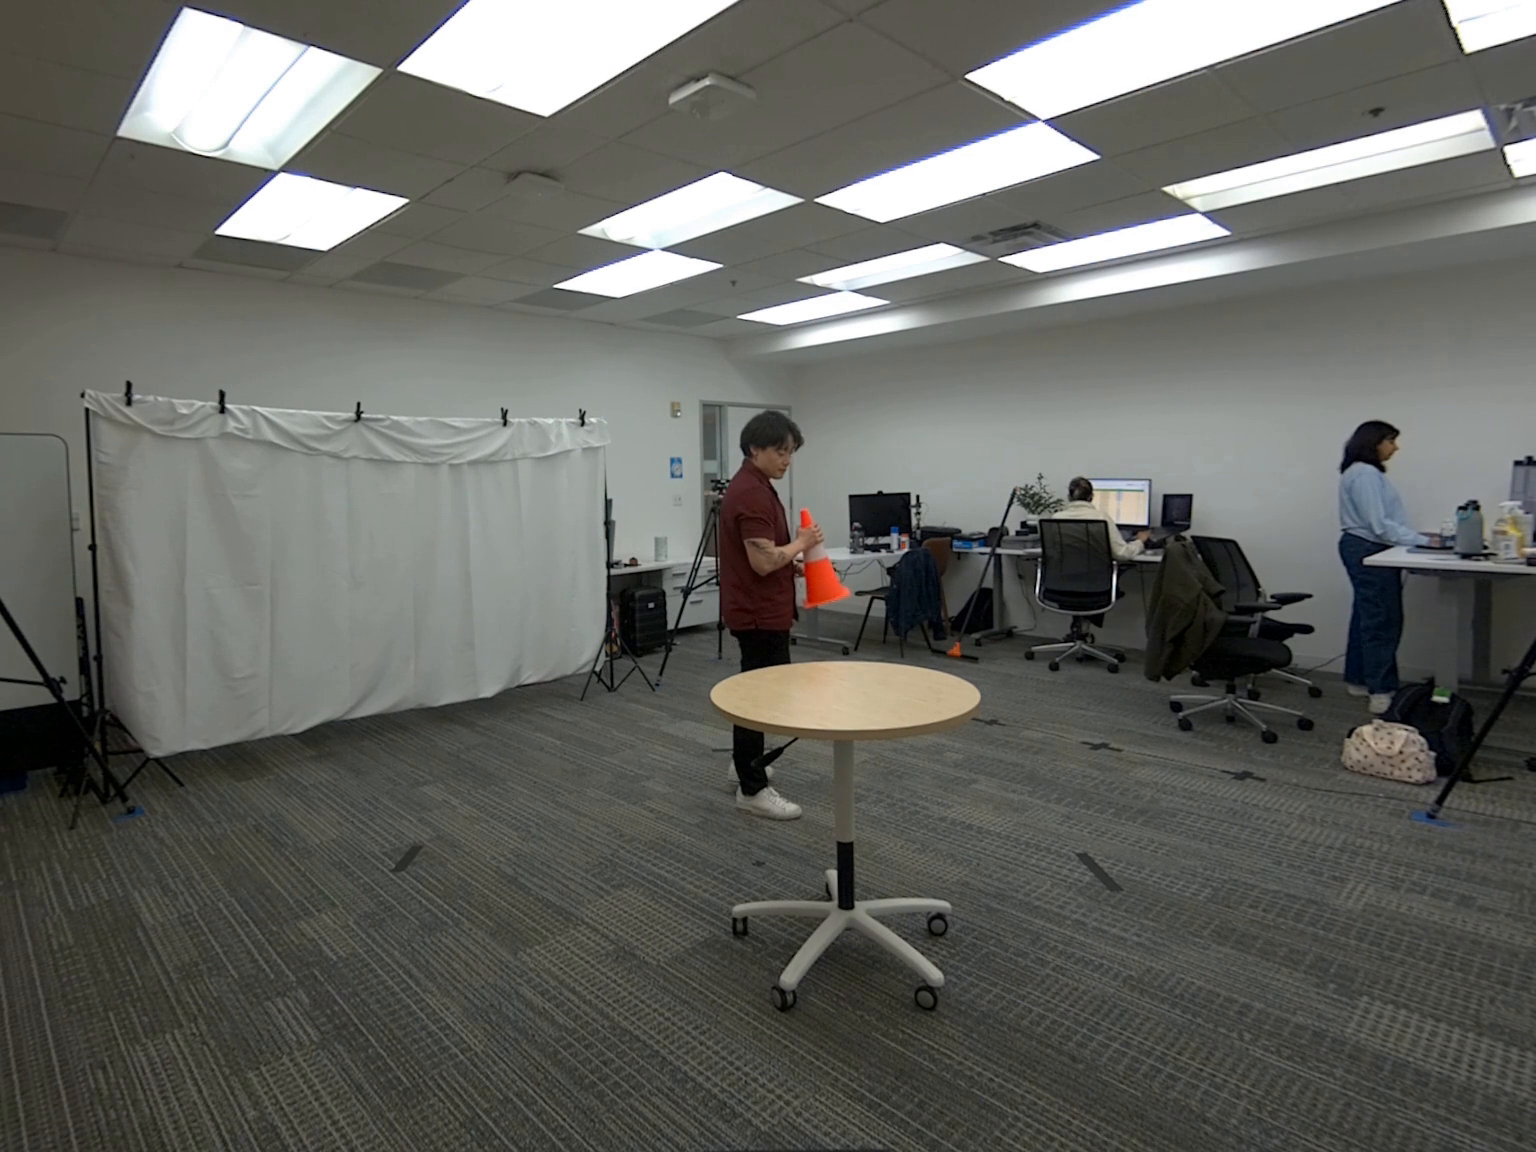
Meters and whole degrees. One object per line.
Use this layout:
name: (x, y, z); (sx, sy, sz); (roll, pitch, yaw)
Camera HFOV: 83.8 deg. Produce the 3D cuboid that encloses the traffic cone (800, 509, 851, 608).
traffic cone: (0.186, -0.092, 3.550); (0.204, 0.380, 0.206); (-14, 8, 7)
